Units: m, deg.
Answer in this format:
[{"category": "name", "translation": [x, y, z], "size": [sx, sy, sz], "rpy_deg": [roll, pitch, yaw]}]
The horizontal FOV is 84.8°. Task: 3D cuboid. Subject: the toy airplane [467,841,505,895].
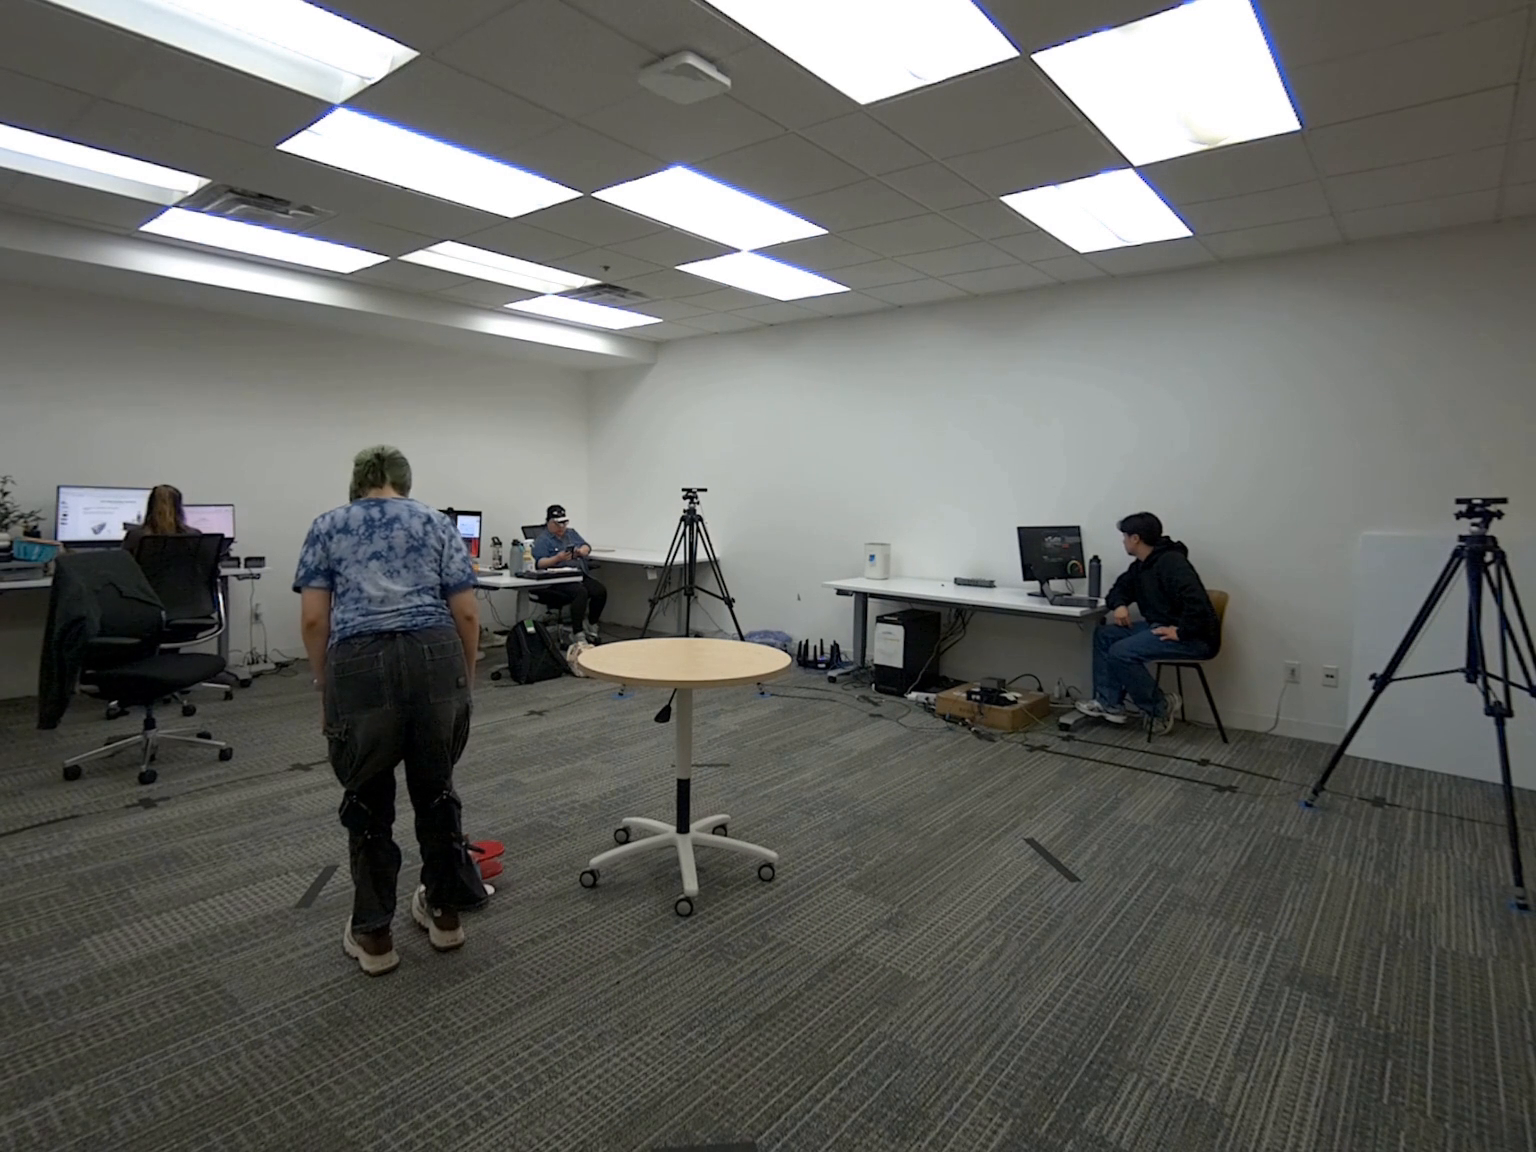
[{"category": "toy airplane", "translation": [-1.006, 1.005, 2.876], "size": [0.267, 0.156, 0.244], "rpy_deg": [2, 4, 31]}]
